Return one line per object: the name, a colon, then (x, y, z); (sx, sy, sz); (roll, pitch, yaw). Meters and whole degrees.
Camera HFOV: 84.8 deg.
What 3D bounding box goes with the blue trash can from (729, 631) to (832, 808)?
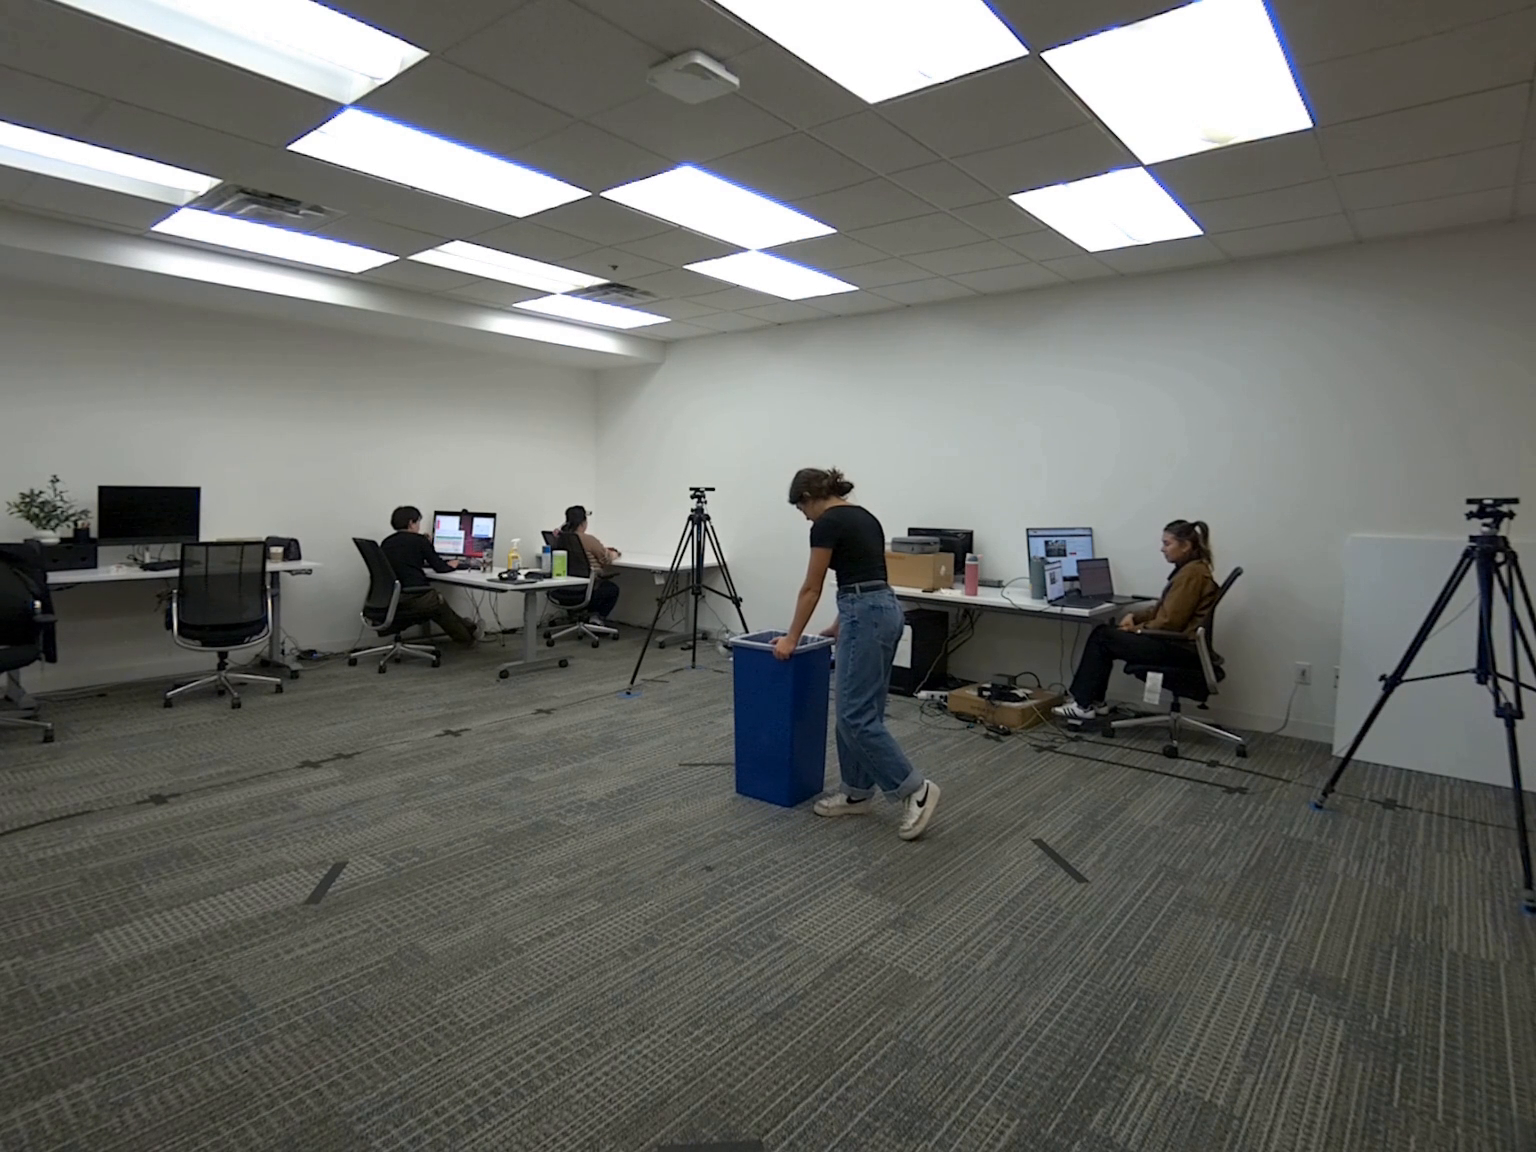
blue trash can: (0.050, 0.635, 3.903); (0.390, 0.712, 0.363); (3, 3, 36)
